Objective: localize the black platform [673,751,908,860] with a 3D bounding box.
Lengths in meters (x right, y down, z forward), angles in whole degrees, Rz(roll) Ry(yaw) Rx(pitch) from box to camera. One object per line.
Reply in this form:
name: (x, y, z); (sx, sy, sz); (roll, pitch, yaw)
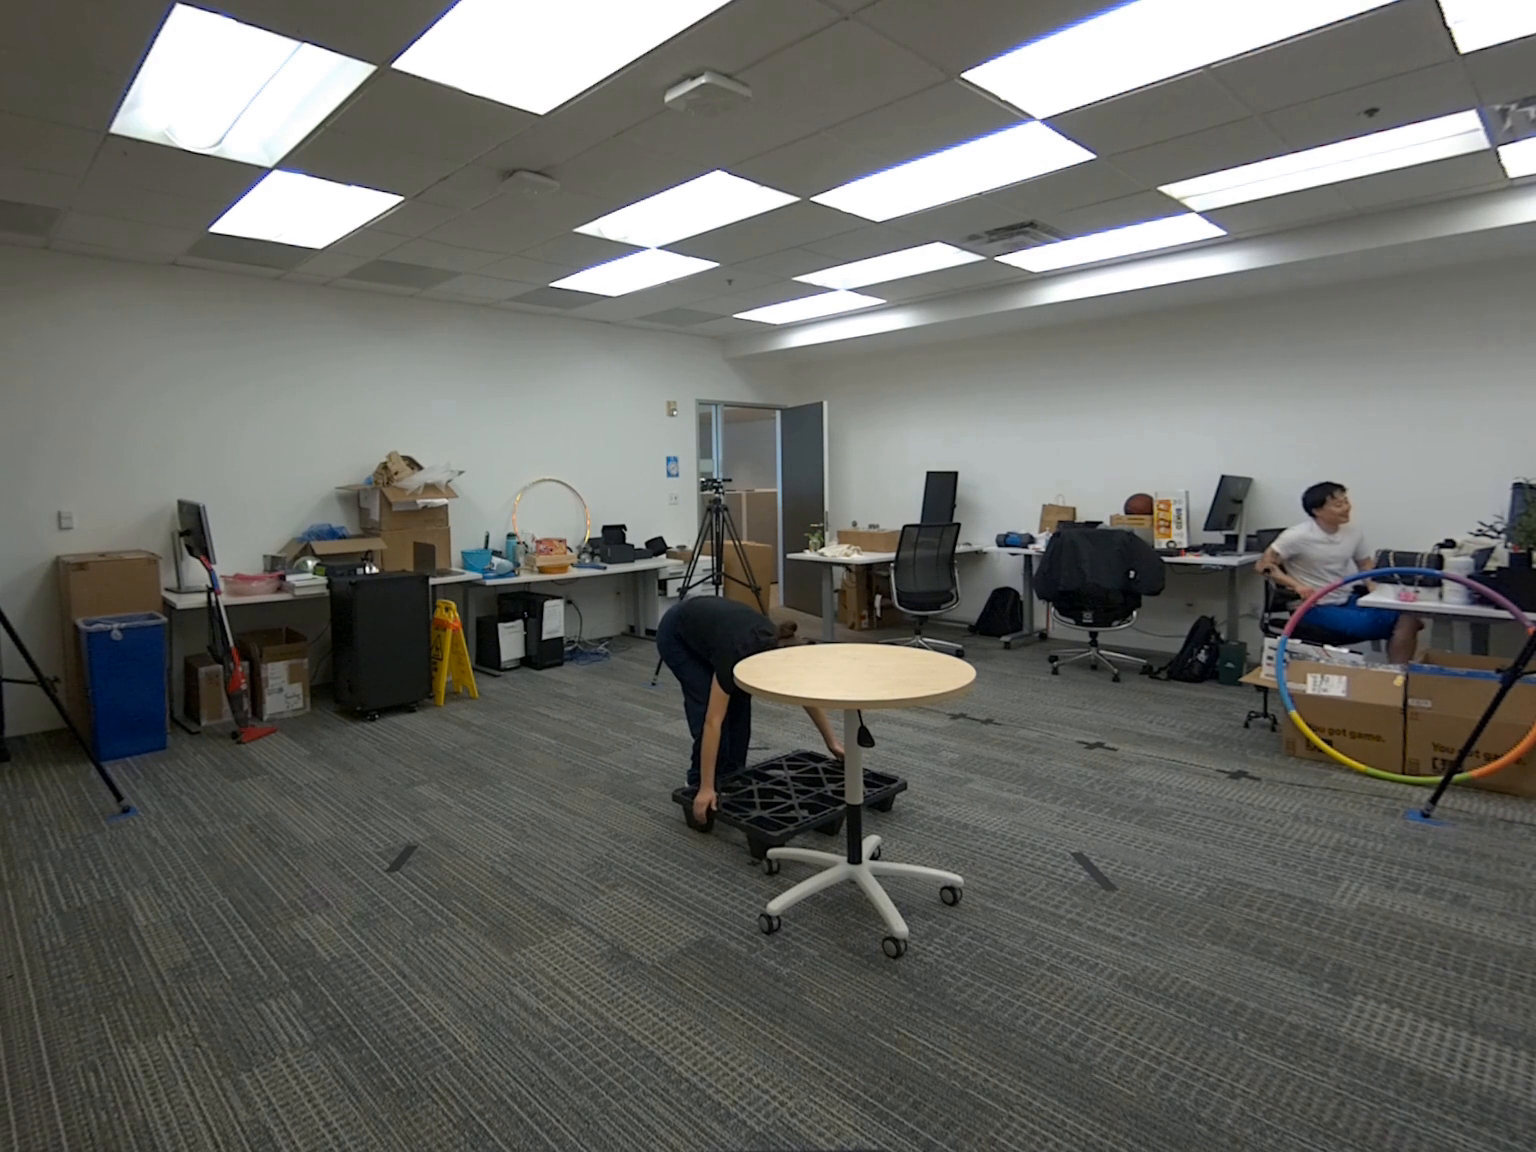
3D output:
black platform: (0.089, 0.930, 3.520); (0.784, 0.143, 0.624); (-7, 8, -44)
